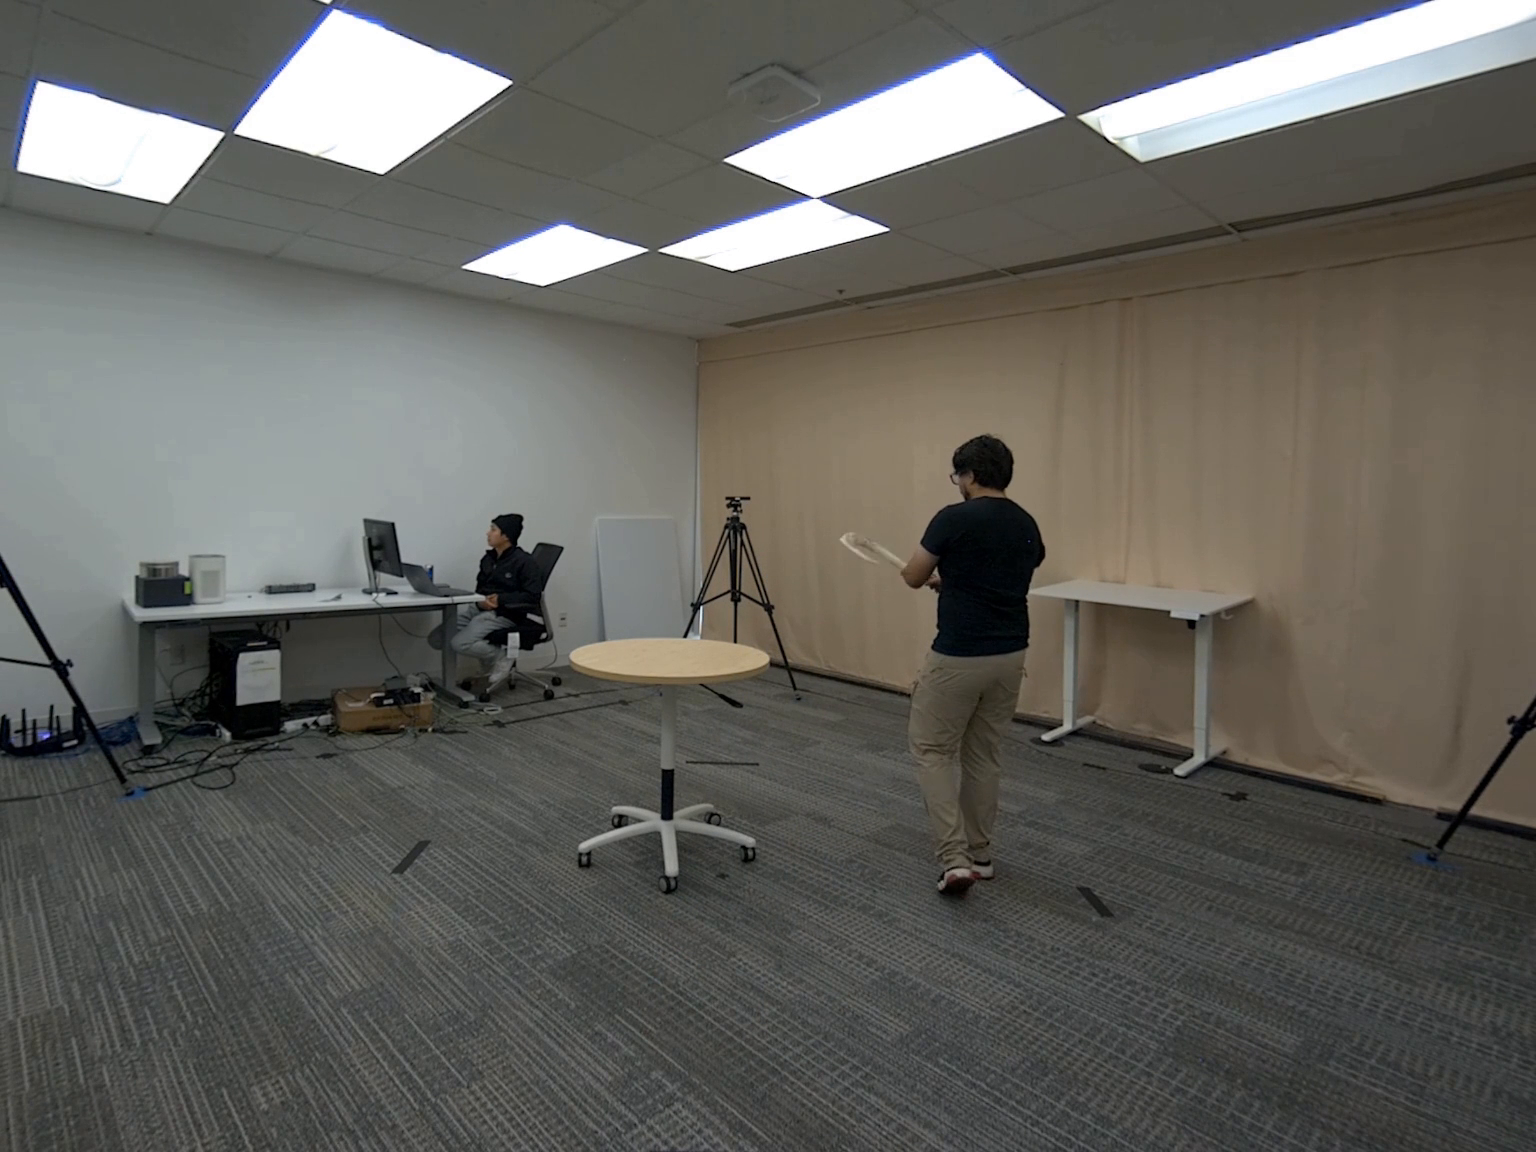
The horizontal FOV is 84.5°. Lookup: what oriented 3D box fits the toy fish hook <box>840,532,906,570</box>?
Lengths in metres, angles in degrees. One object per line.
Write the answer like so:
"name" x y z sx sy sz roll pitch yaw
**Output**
"toy fish hook" 0.537 -0.027 3.507 0.512 0.048 0.224 31 31 10
